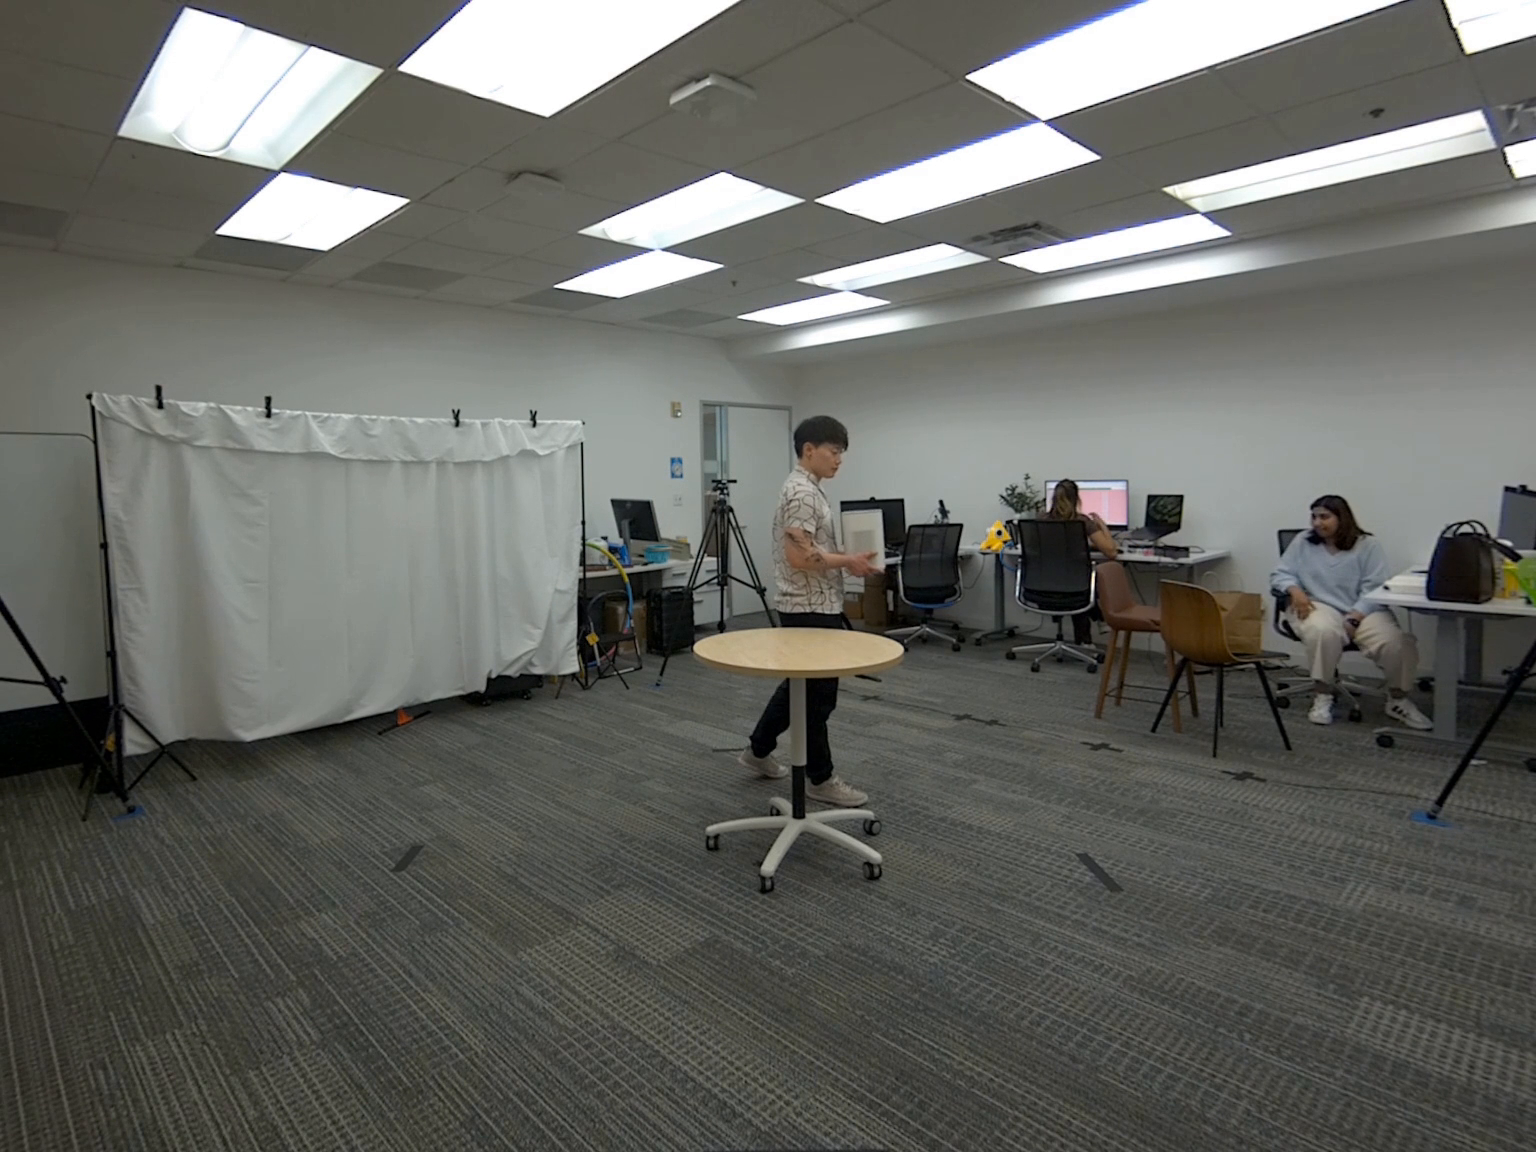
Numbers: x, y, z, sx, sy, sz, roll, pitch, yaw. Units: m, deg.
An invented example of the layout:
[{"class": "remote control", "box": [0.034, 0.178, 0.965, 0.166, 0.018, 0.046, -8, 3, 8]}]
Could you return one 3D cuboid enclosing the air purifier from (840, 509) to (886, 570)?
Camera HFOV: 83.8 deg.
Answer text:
[{"class": "air purifier", "box": [0.403, -0.142, 3.671, 0.173, 0.265, 0.170, -5, 3, 10]}]
